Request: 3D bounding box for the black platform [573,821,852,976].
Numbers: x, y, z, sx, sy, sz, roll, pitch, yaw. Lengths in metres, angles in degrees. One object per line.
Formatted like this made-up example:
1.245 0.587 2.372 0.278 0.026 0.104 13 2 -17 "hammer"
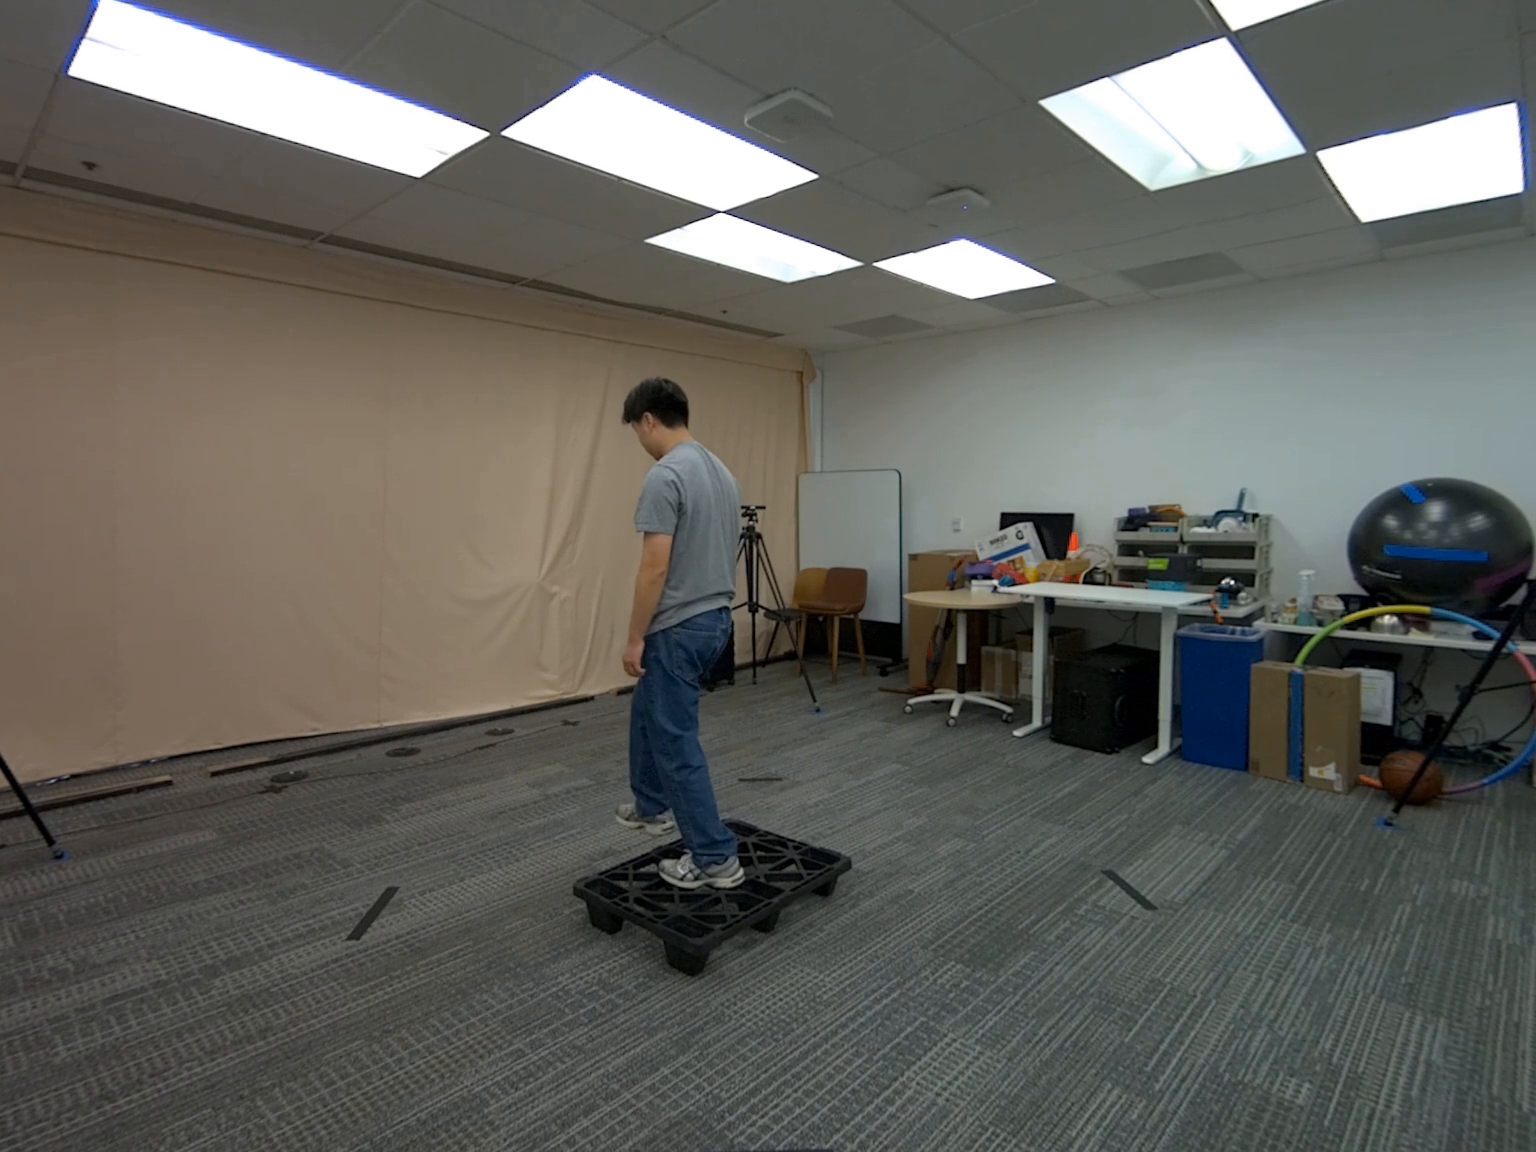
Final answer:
-0.179 1.082 2.909 0.625 0.143 0.781 3 6 40 "black platform"
